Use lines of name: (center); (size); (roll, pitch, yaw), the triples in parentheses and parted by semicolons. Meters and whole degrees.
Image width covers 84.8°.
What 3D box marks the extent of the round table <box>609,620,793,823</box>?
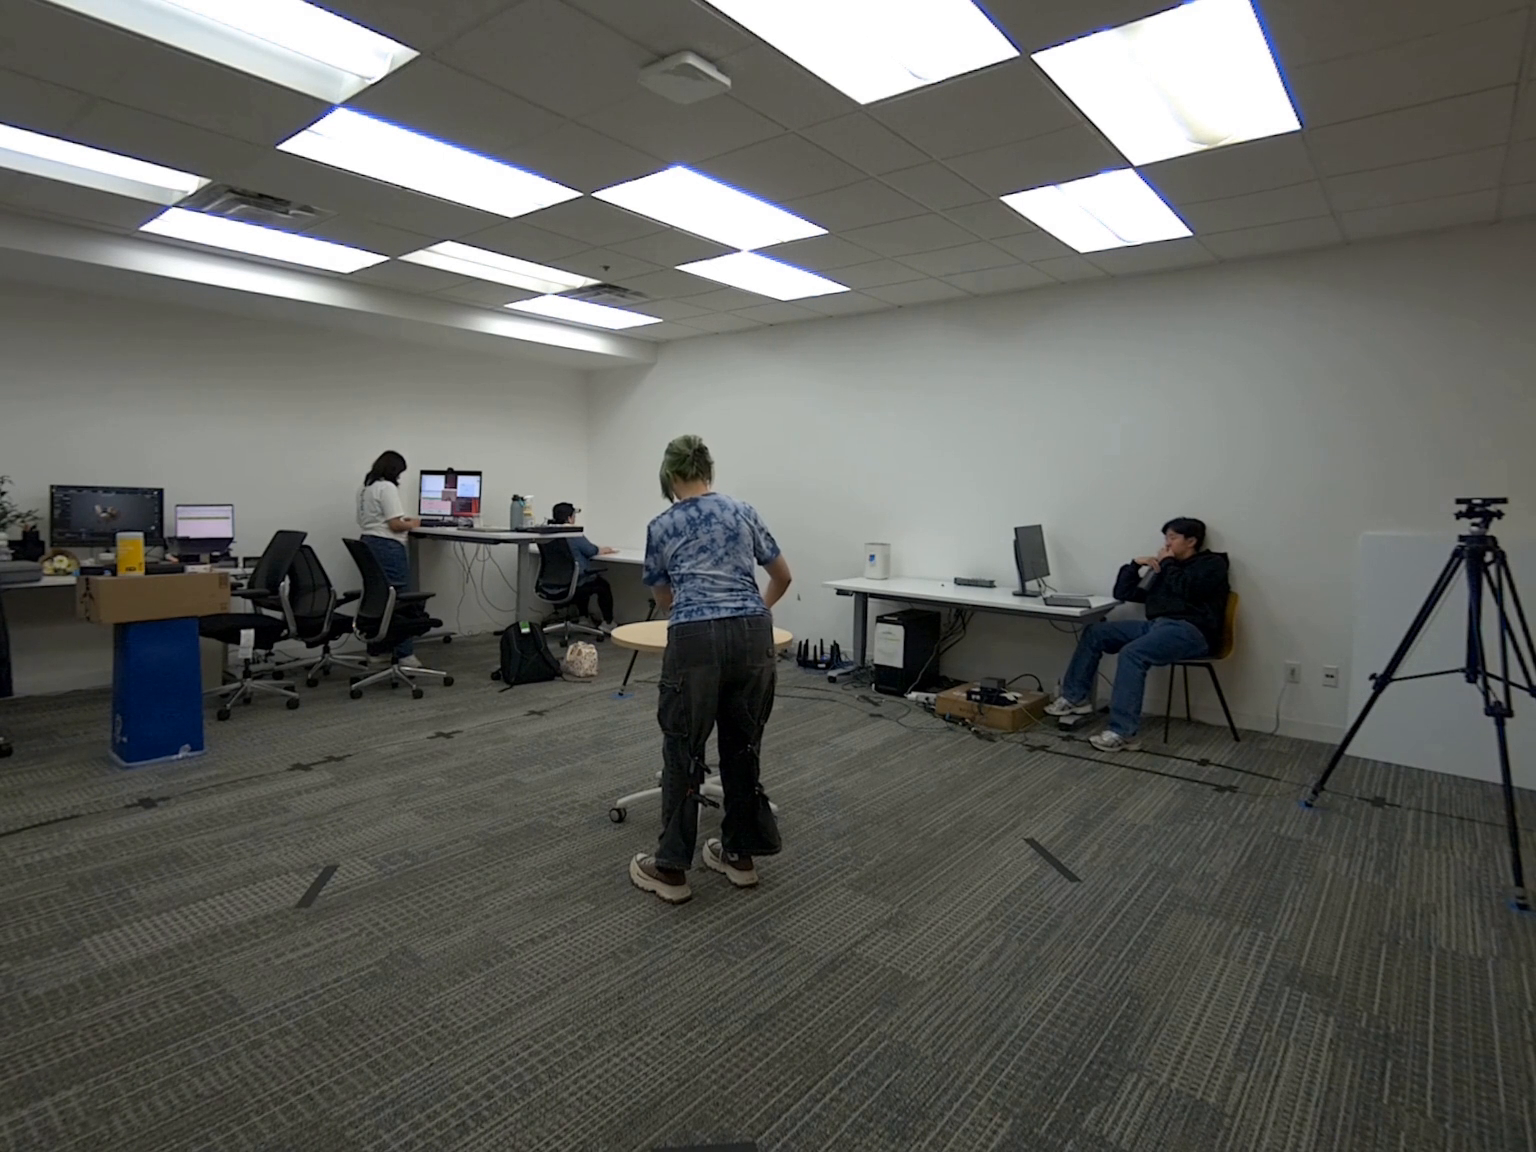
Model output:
round table: (-0.298, 0.629, 3.615); (0.763, 0.792, 0.767); (2, 4, -2)
